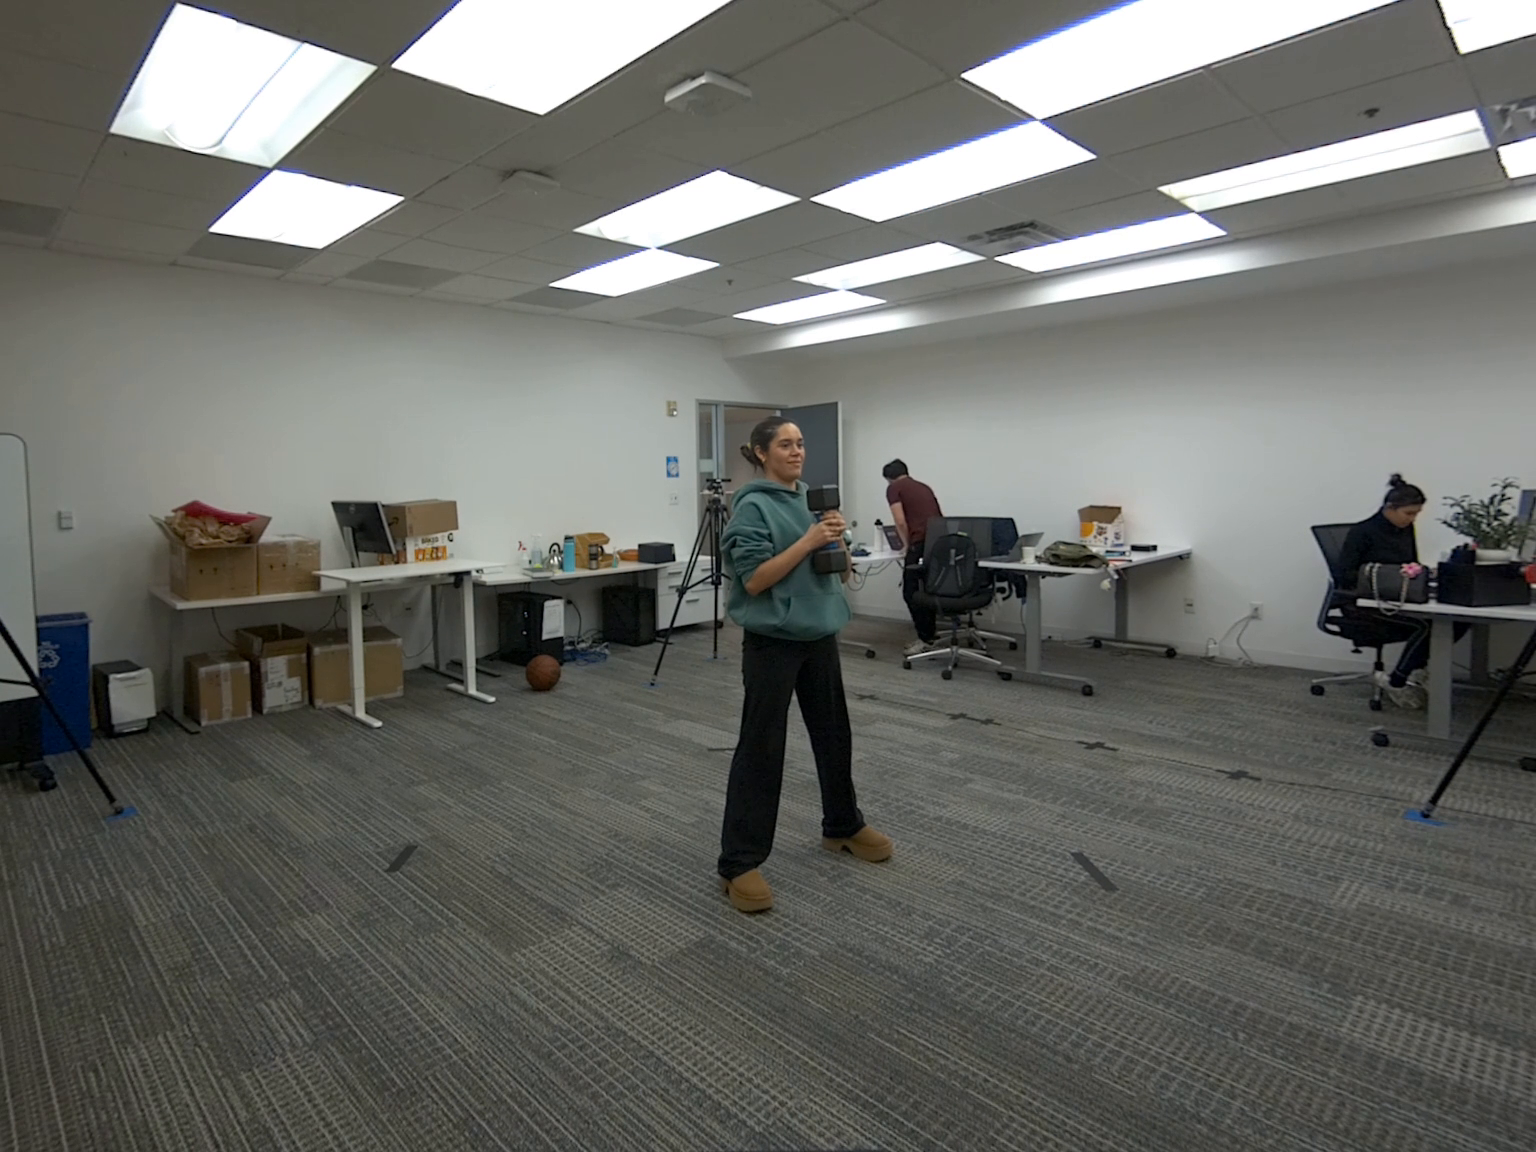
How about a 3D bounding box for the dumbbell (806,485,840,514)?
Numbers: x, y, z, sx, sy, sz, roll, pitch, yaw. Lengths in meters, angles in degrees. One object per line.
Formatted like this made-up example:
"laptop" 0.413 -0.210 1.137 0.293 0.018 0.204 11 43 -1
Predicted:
"dumbbell" 0.180 -0.150 2.849 0.109 0.294 0.122 -8 -1 1
